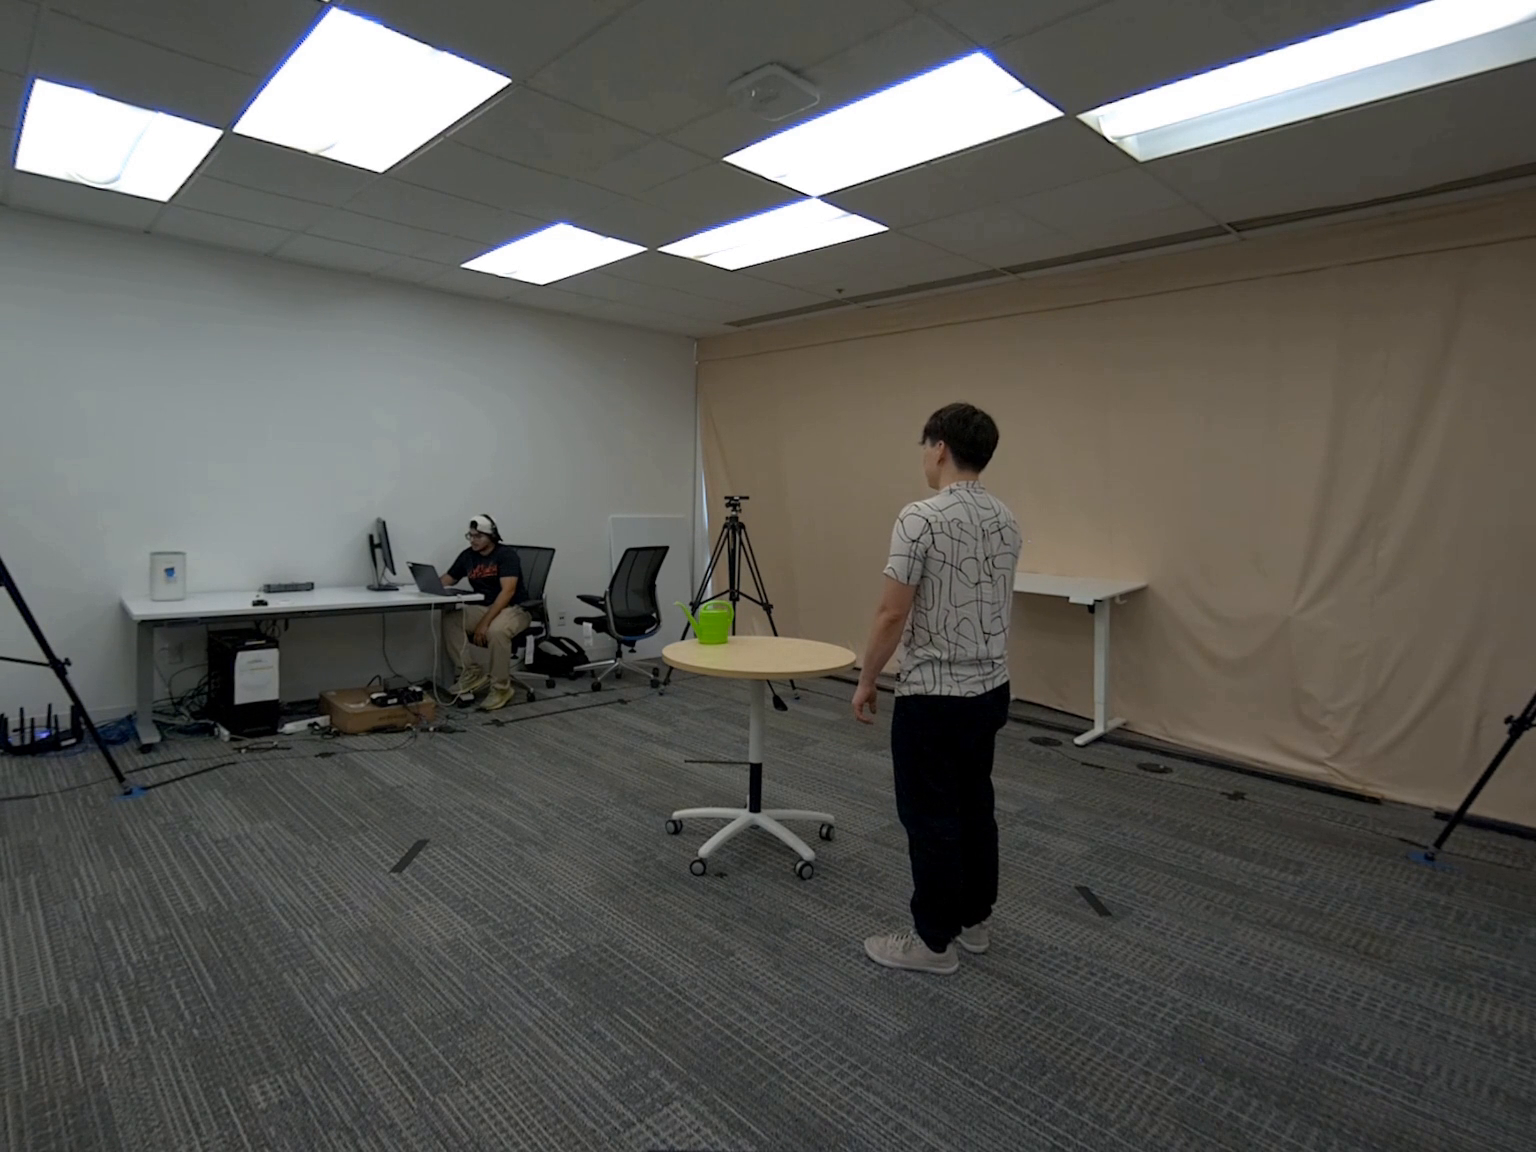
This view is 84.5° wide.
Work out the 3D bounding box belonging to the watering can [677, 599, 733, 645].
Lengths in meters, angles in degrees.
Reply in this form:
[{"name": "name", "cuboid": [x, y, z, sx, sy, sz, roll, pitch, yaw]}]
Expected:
[{"name": "watering can", "cuboid": [-0.284, 0.190, 3.513, 0.274, 0.176, 0.100, 3, 6, -16]}]
